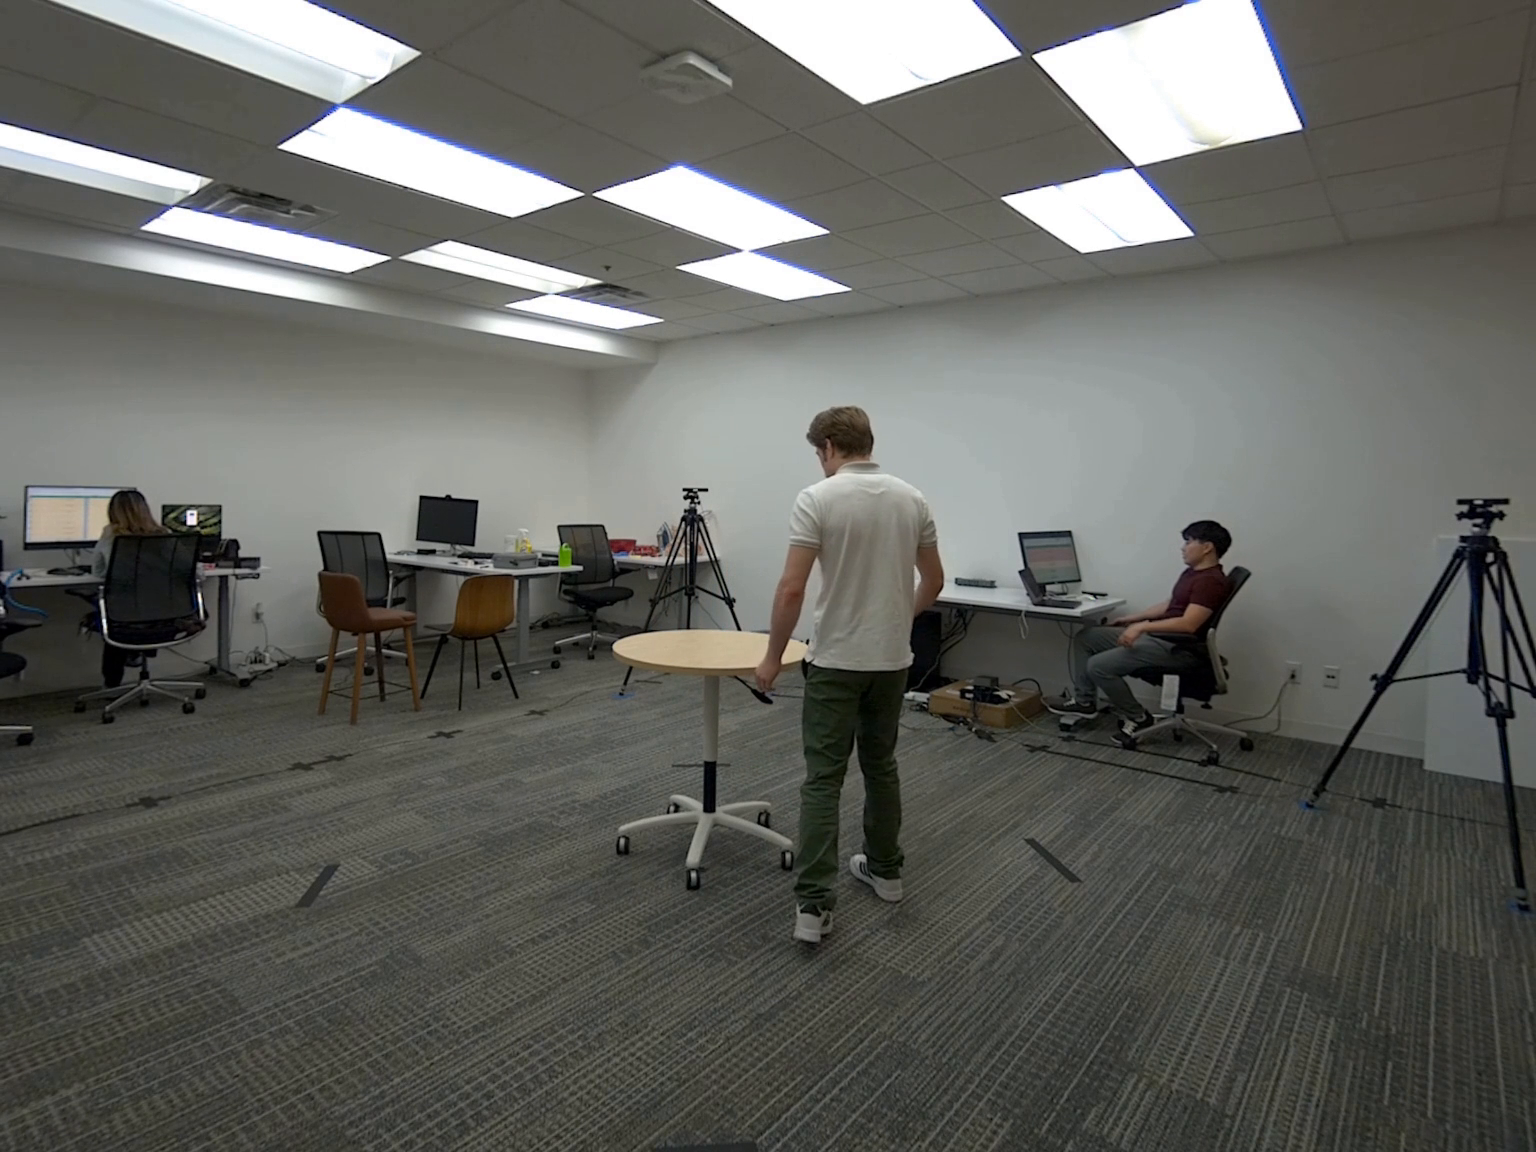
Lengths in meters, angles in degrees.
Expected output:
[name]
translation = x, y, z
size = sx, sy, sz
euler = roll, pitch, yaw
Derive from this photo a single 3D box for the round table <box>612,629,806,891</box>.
[round table]
translation = -0.237, 0.663, 3.287
size = 0.763, 0.791, 0.768
euler = 1, 4, -2
